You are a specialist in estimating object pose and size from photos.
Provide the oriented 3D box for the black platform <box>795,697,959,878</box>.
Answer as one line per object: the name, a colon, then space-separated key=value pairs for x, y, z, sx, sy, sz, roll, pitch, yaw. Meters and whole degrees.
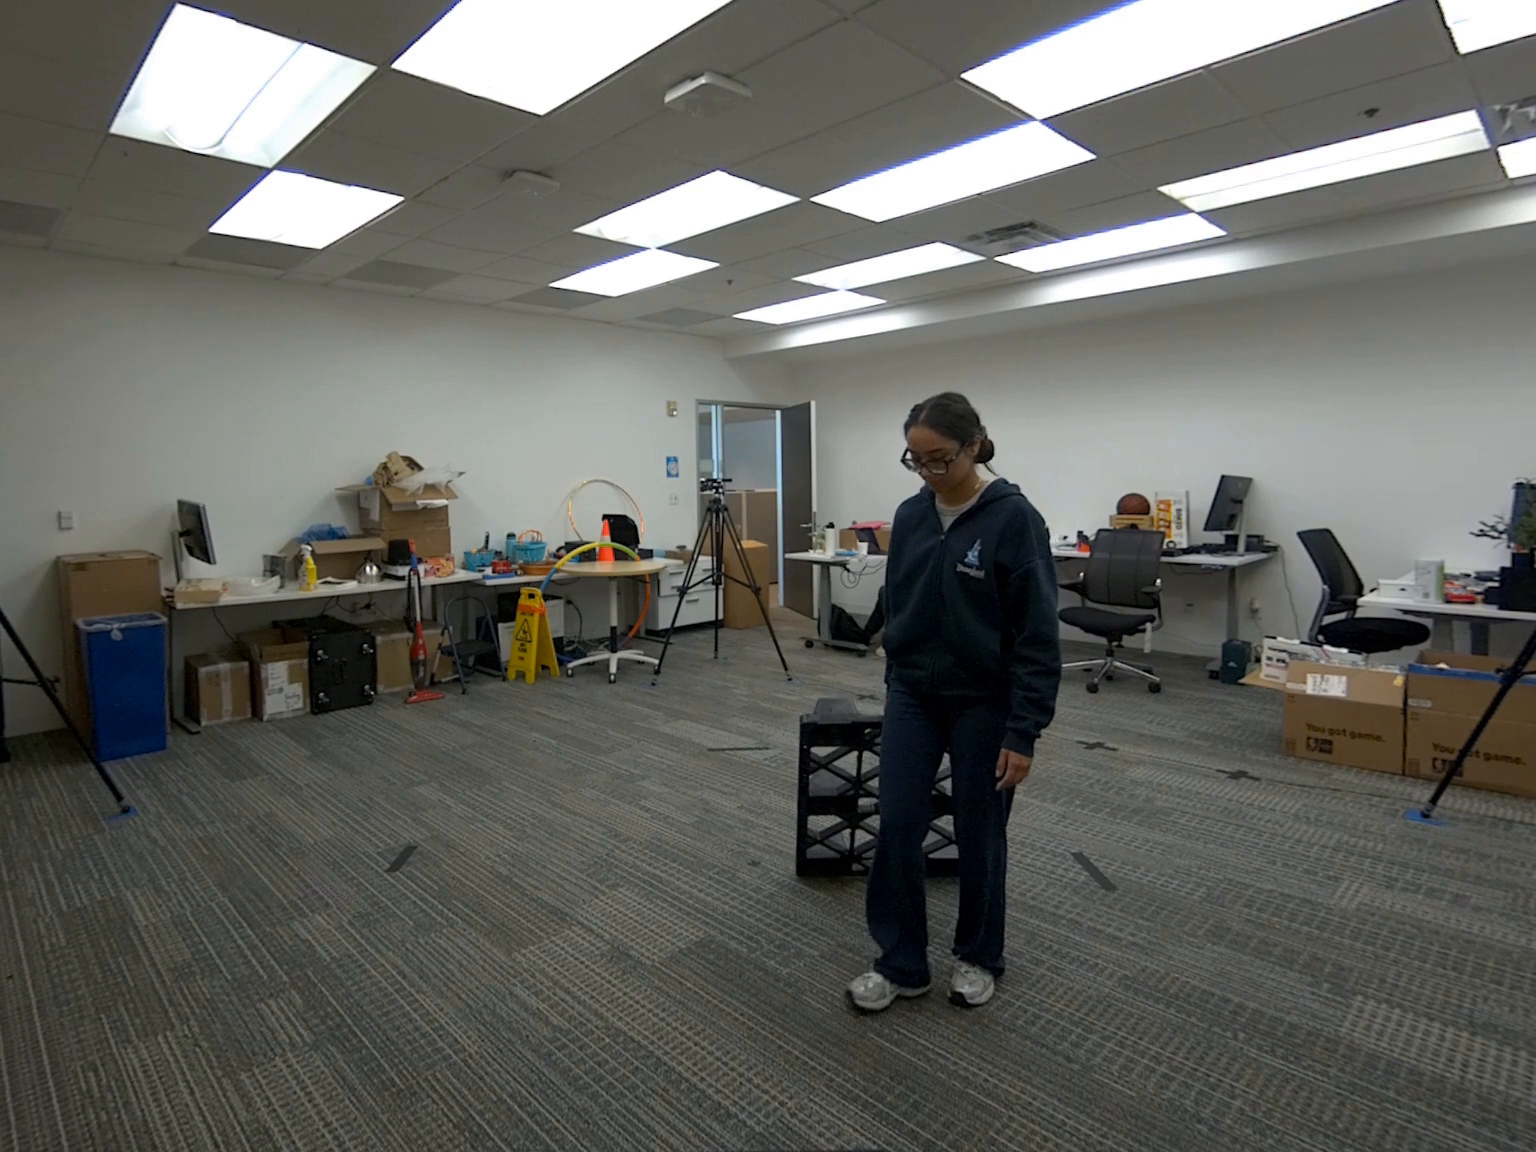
black platform: x=0.388 y=0.703 z=2.791 sx=0.607 sy=0.784 sz=0.147 roll=1 pitch=37 yaw=3
